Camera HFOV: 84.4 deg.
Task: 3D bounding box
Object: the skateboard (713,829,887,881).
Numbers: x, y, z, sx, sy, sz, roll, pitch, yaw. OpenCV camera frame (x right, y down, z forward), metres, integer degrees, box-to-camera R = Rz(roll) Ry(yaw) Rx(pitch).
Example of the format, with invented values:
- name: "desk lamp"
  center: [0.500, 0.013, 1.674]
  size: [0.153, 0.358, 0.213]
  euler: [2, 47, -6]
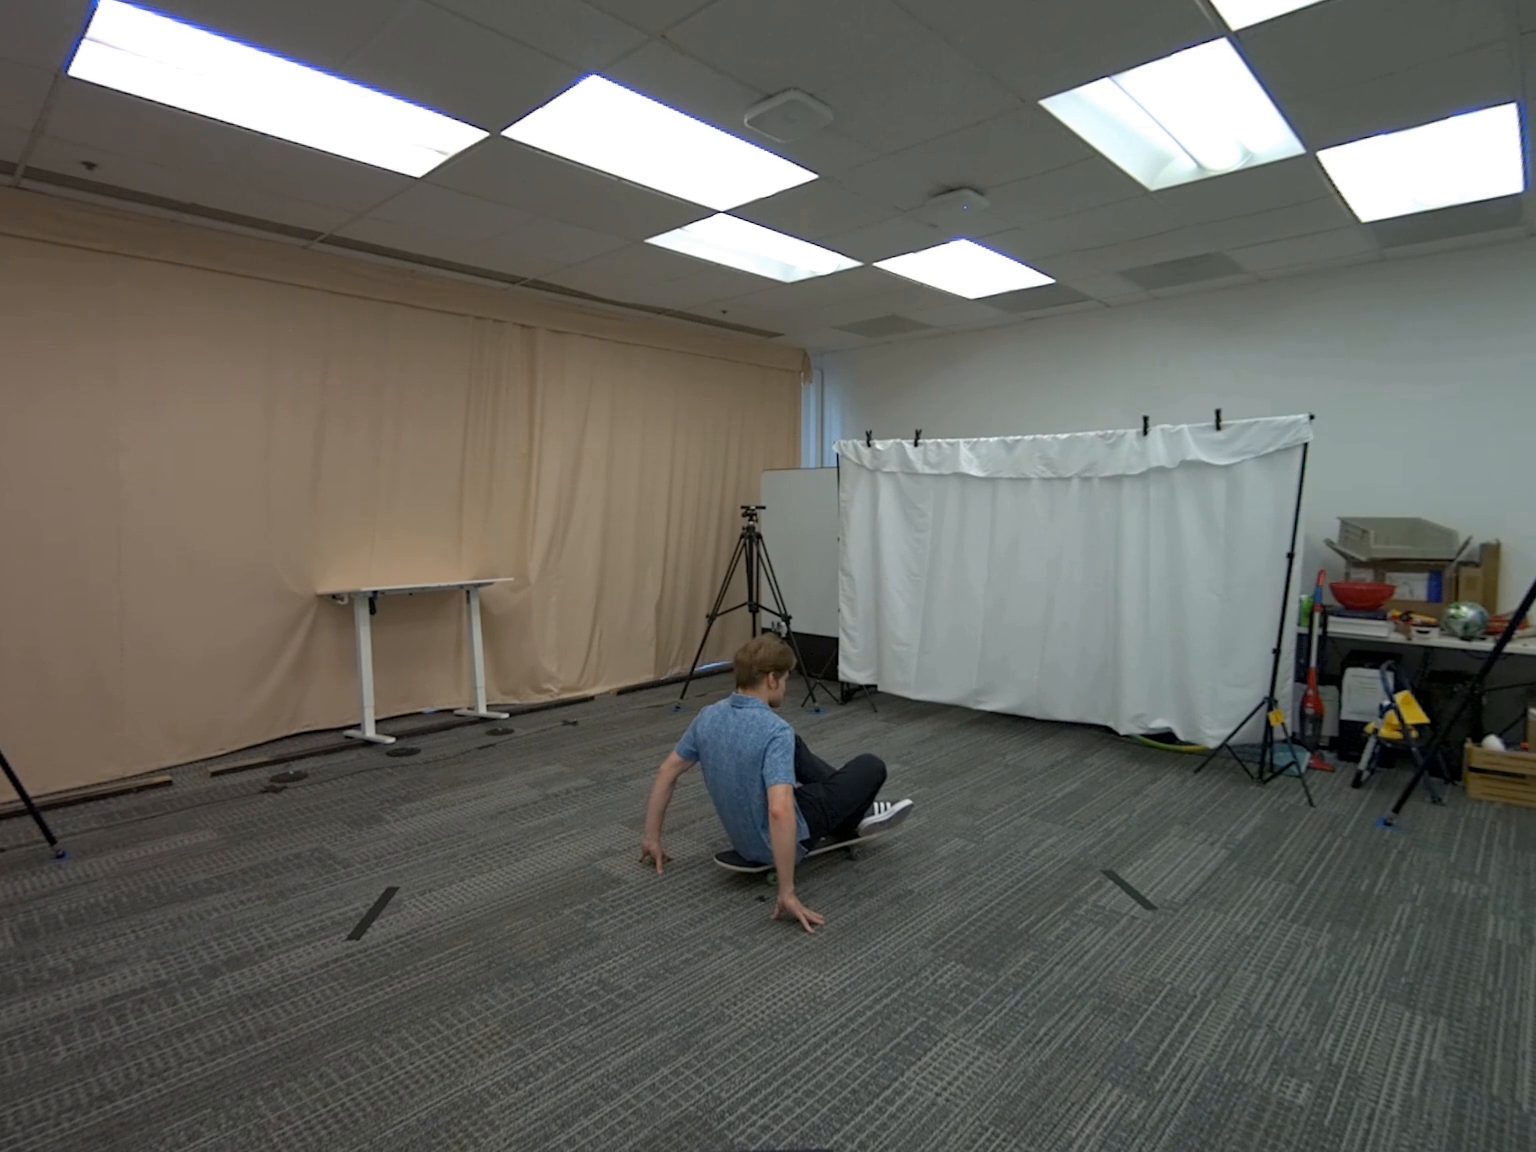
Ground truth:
- name: "skateboard"
  center: [0.135, 1.077, 3.276]
  size: [0.763, 0.110, 0.199]
  euler: [-5, 4, -34]
